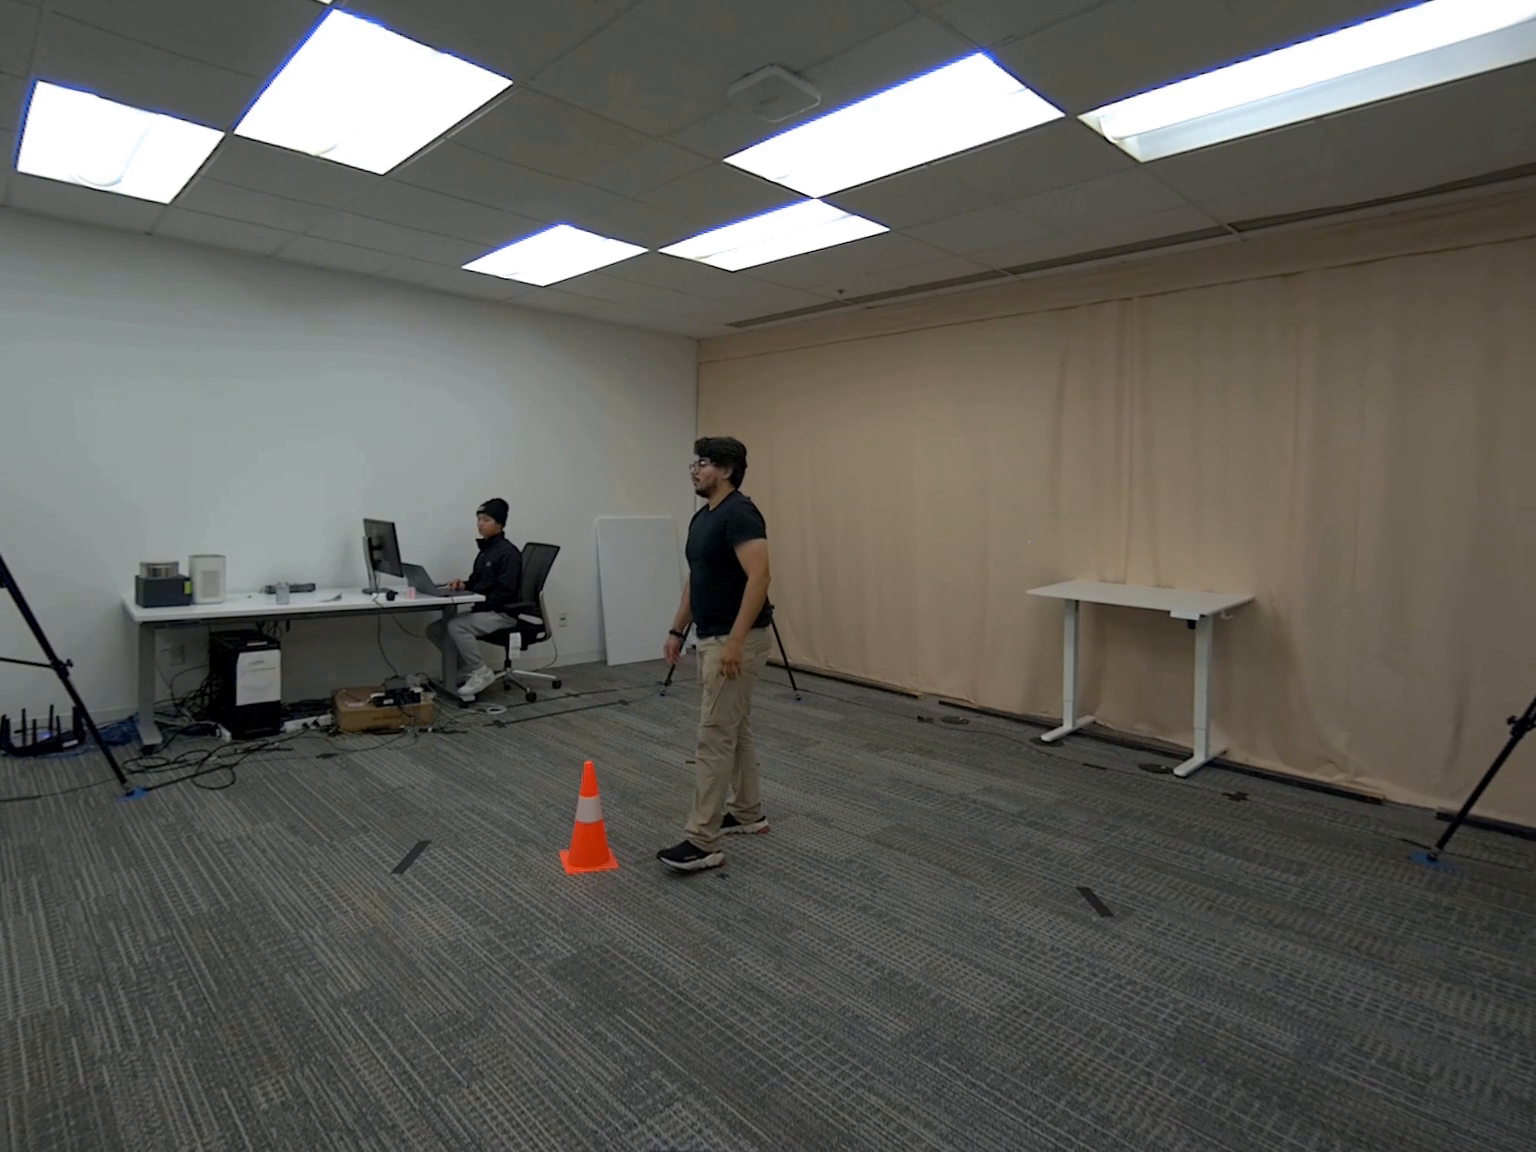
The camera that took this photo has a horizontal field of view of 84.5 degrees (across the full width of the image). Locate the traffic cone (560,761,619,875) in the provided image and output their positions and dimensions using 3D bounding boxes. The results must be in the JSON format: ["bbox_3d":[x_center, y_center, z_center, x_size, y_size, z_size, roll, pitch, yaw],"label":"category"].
[{"bbox_3d":[-0.692,0.900,3.200,0.202,0.383,0.207,1,3,-19],"label":"traffic cone"}]
